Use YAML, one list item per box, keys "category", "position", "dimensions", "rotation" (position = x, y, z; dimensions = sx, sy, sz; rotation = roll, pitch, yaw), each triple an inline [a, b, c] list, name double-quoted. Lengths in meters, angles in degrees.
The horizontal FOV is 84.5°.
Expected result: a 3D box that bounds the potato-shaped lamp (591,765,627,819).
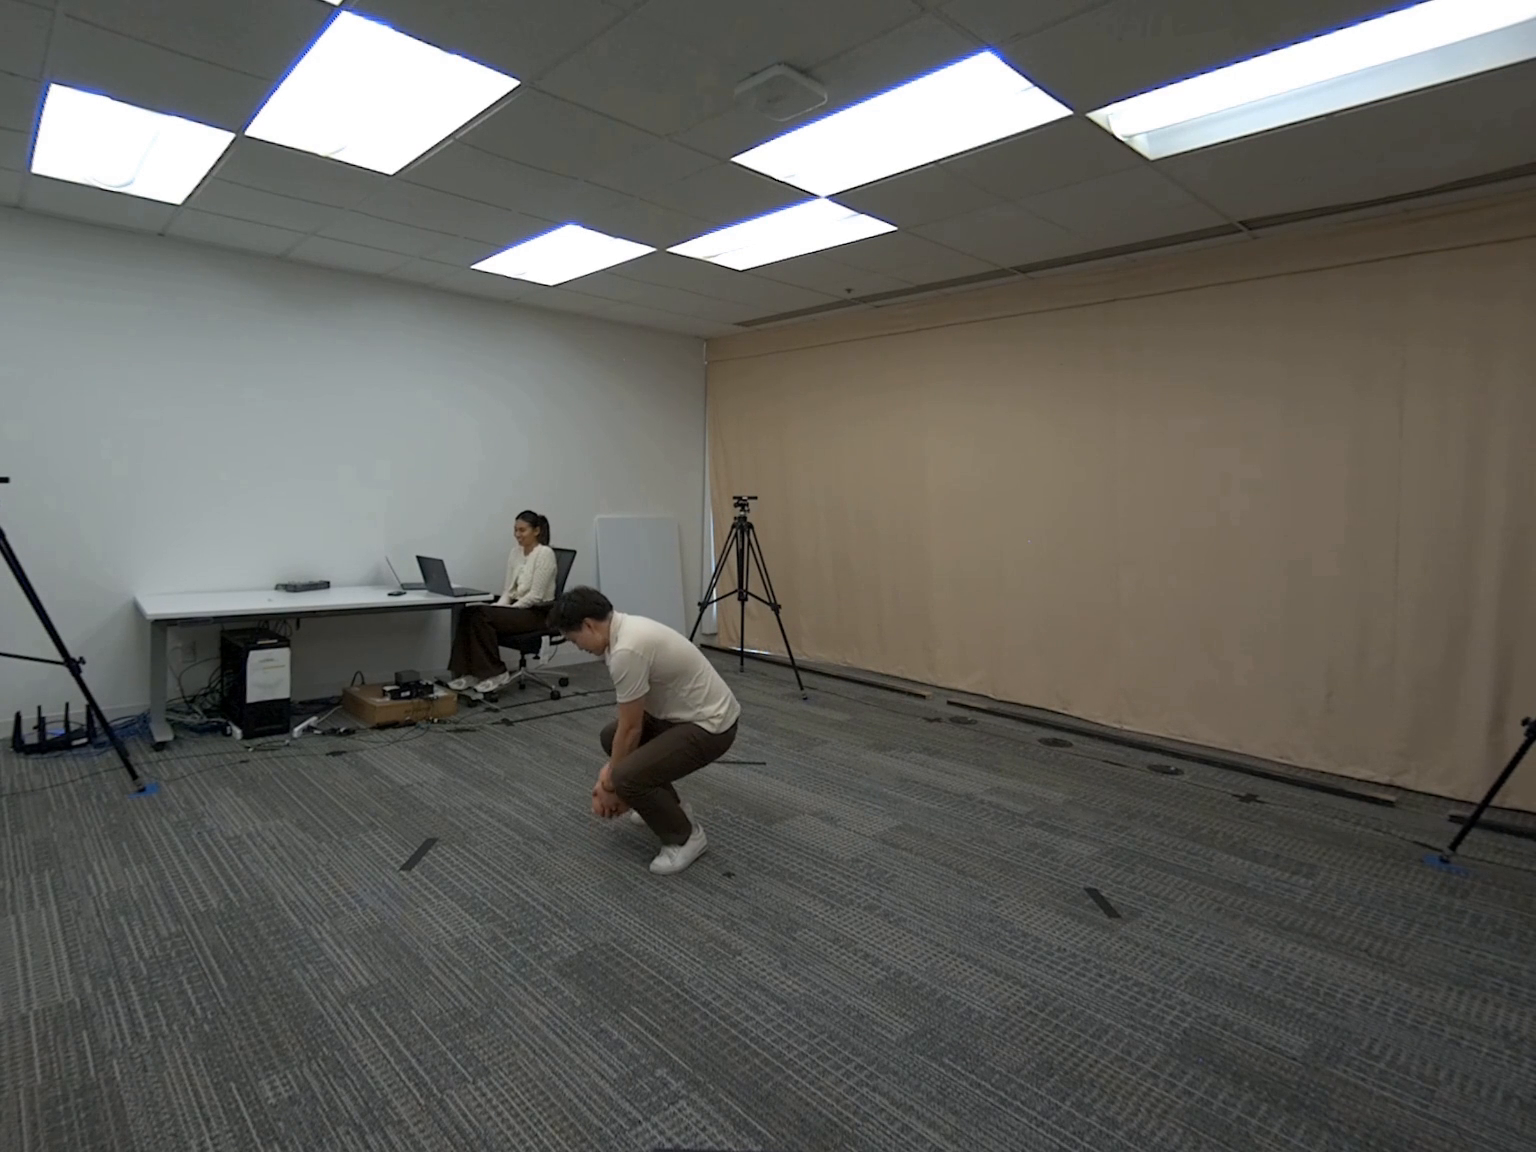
- category: "potato-shaped lamp"
  position: [-0.625, 0.840, 3.303]
  dimensions: [0.174, 0.197, 0.163]
  rotation: [4, 9, 19]
